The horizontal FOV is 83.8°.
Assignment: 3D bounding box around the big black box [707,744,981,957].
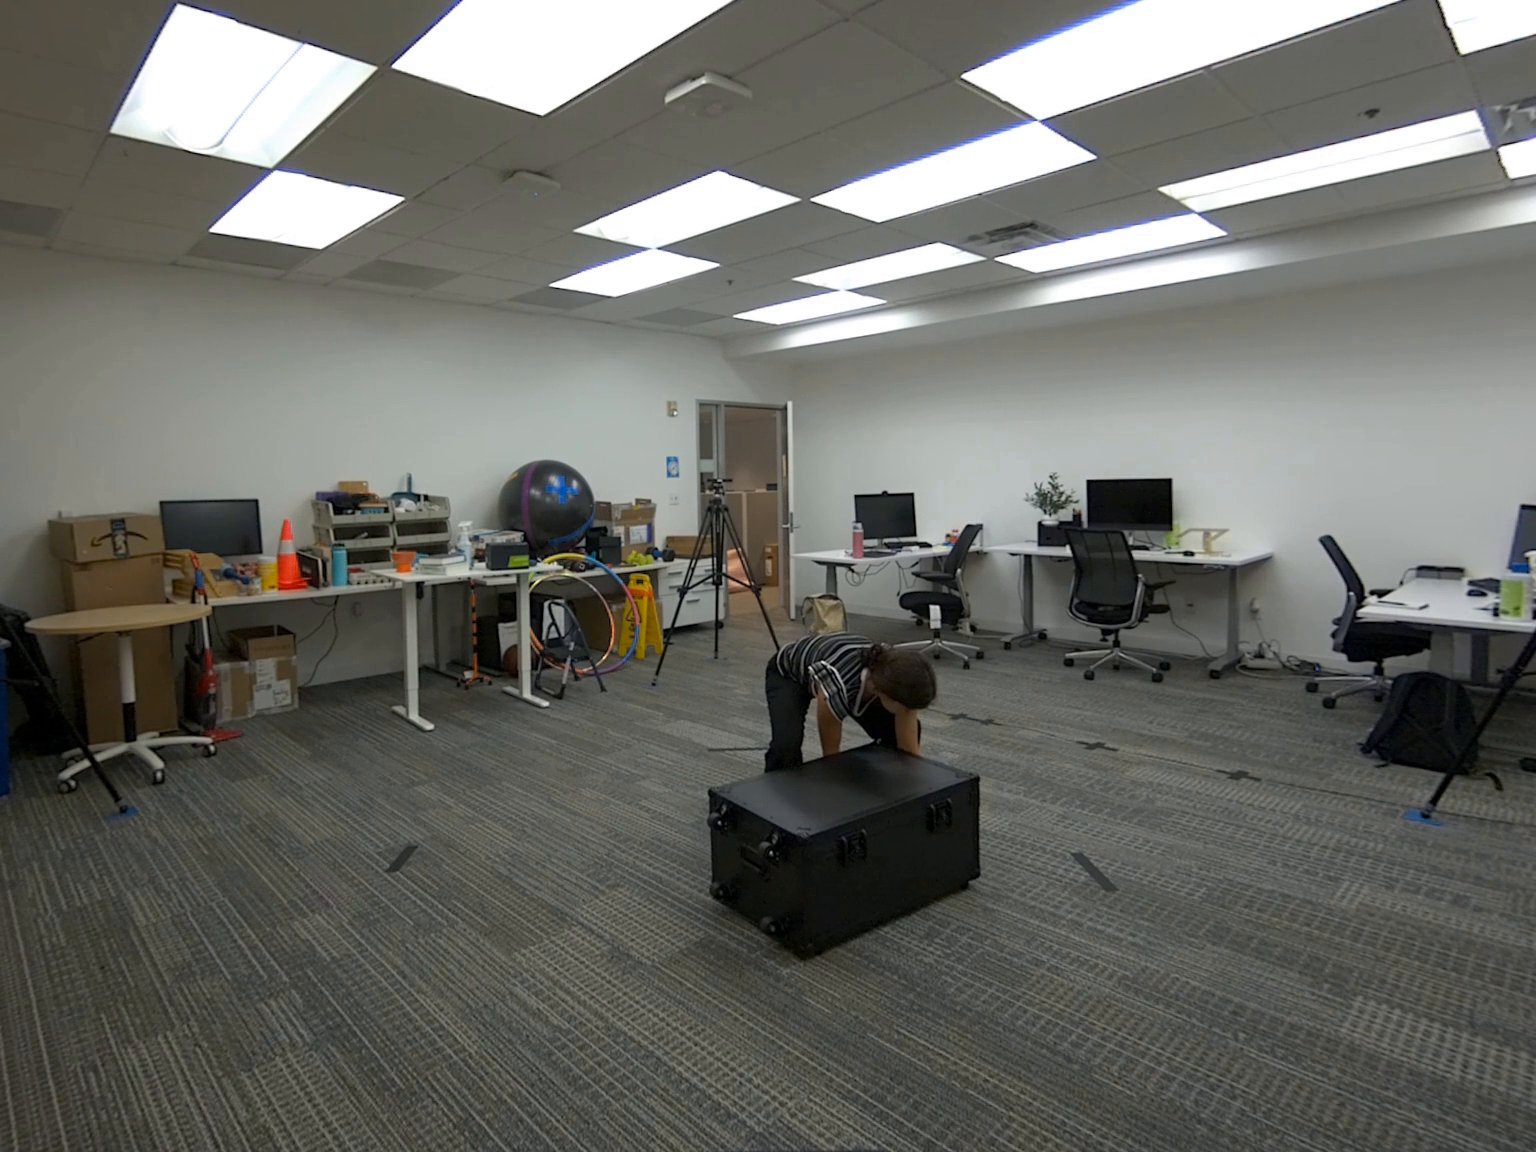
[{"bbox_3d":[0.234,0.882,2.837,0.839,0.395,0.537,-5,7,-37],"label":"big black box"}]
